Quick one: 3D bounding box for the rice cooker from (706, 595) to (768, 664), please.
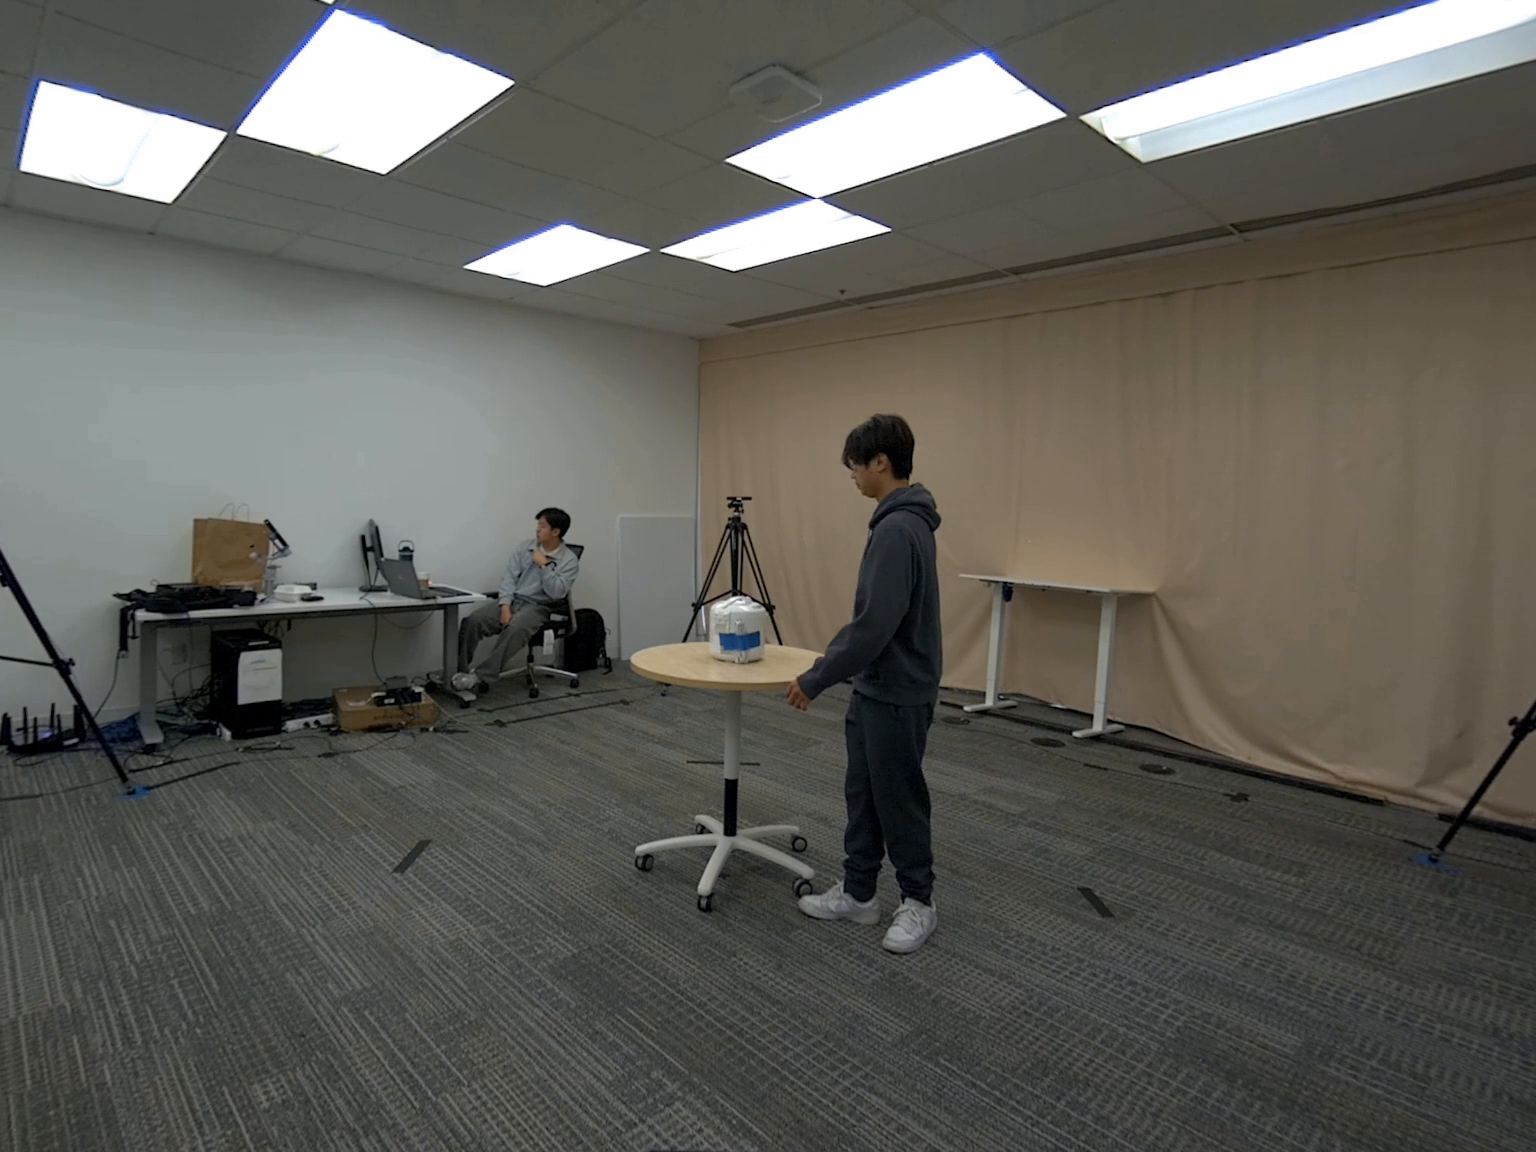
[{"bbox_3d":[-0.120,0.189,3.120,0.223,0.232,0.216,7,6,35],"label":"rice cooker"}]
